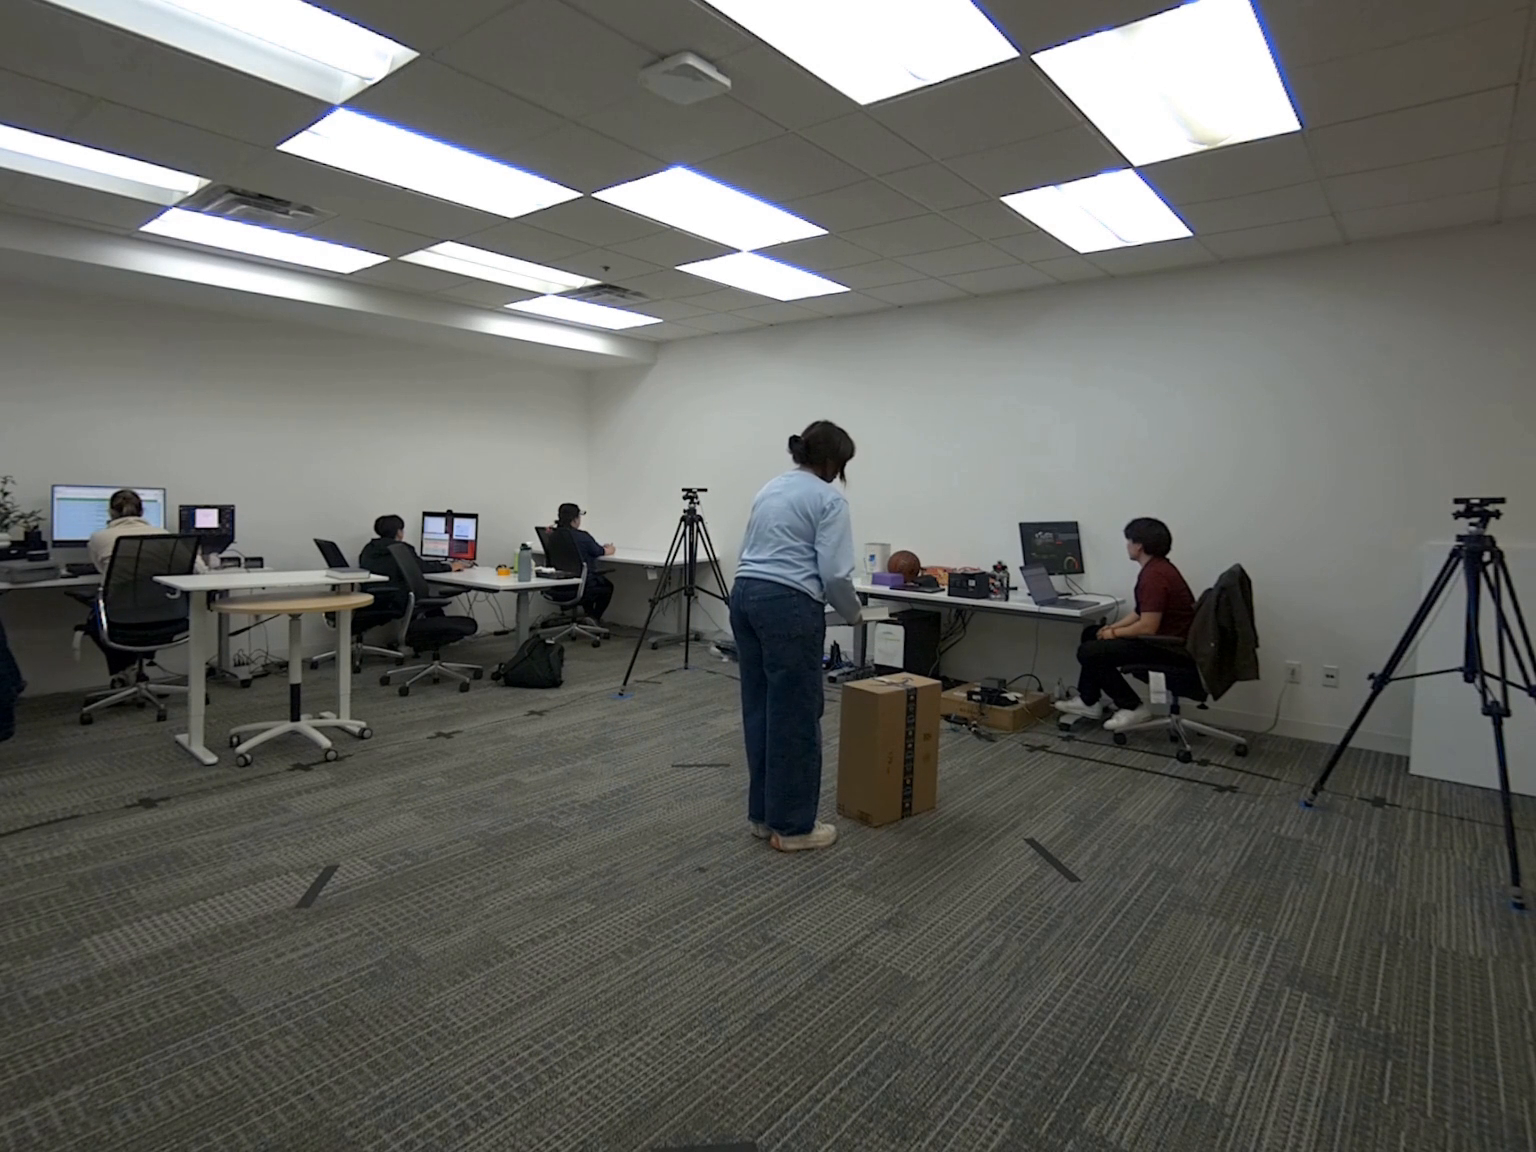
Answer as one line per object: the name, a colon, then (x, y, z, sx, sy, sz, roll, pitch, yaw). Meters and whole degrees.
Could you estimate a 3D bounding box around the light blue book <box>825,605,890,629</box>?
light blue book: (0.357, 0.166, 3.582, 0.196, 0.059, 0.253, -10, -6, 42)
